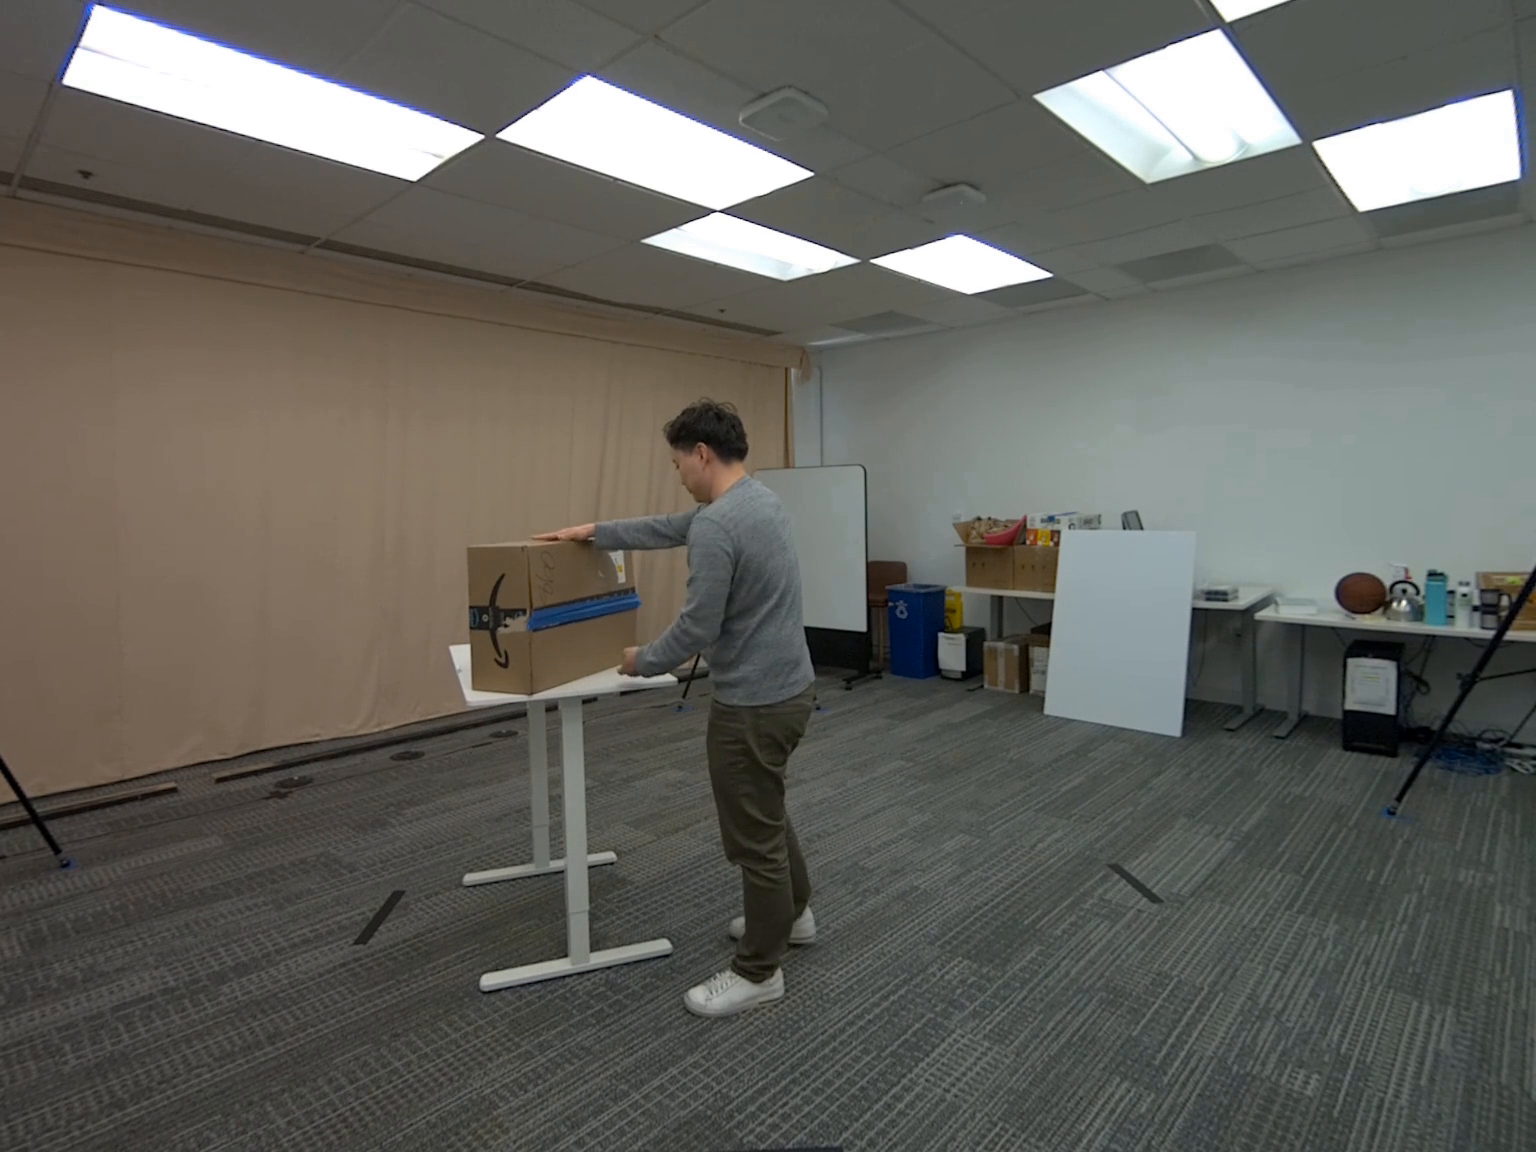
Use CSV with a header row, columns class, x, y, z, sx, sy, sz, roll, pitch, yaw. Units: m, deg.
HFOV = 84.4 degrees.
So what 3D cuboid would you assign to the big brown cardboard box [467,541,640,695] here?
class,x,y,z,sx,sy,sz,roll,pitch,yaw
big brown cardboard box,-0.649,0.098,2.619,0.239,0.416,0.576,0,5,23
